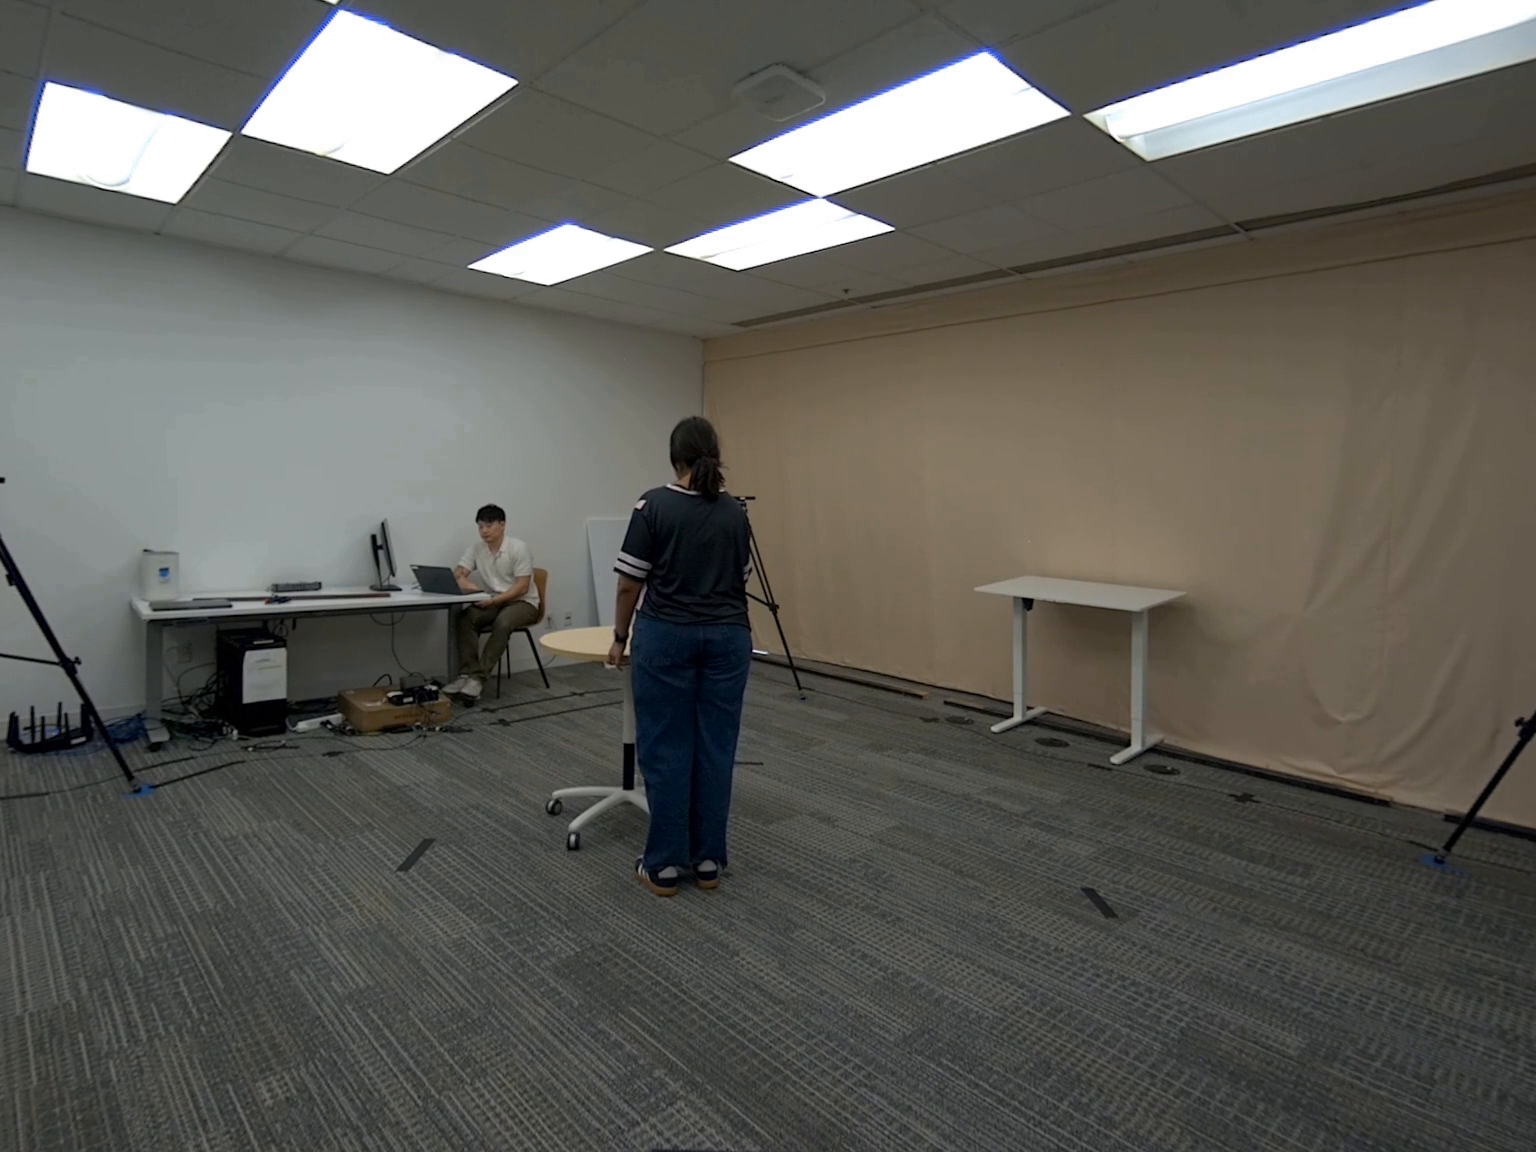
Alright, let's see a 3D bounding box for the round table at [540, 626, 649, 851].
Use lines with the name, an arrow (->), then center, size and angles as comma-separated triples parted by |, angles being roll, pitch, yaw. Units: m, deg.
round table -> -0.587, 0.659, 3.566 | 0.784, 0.785, 0.787 | 1, 4, -1
